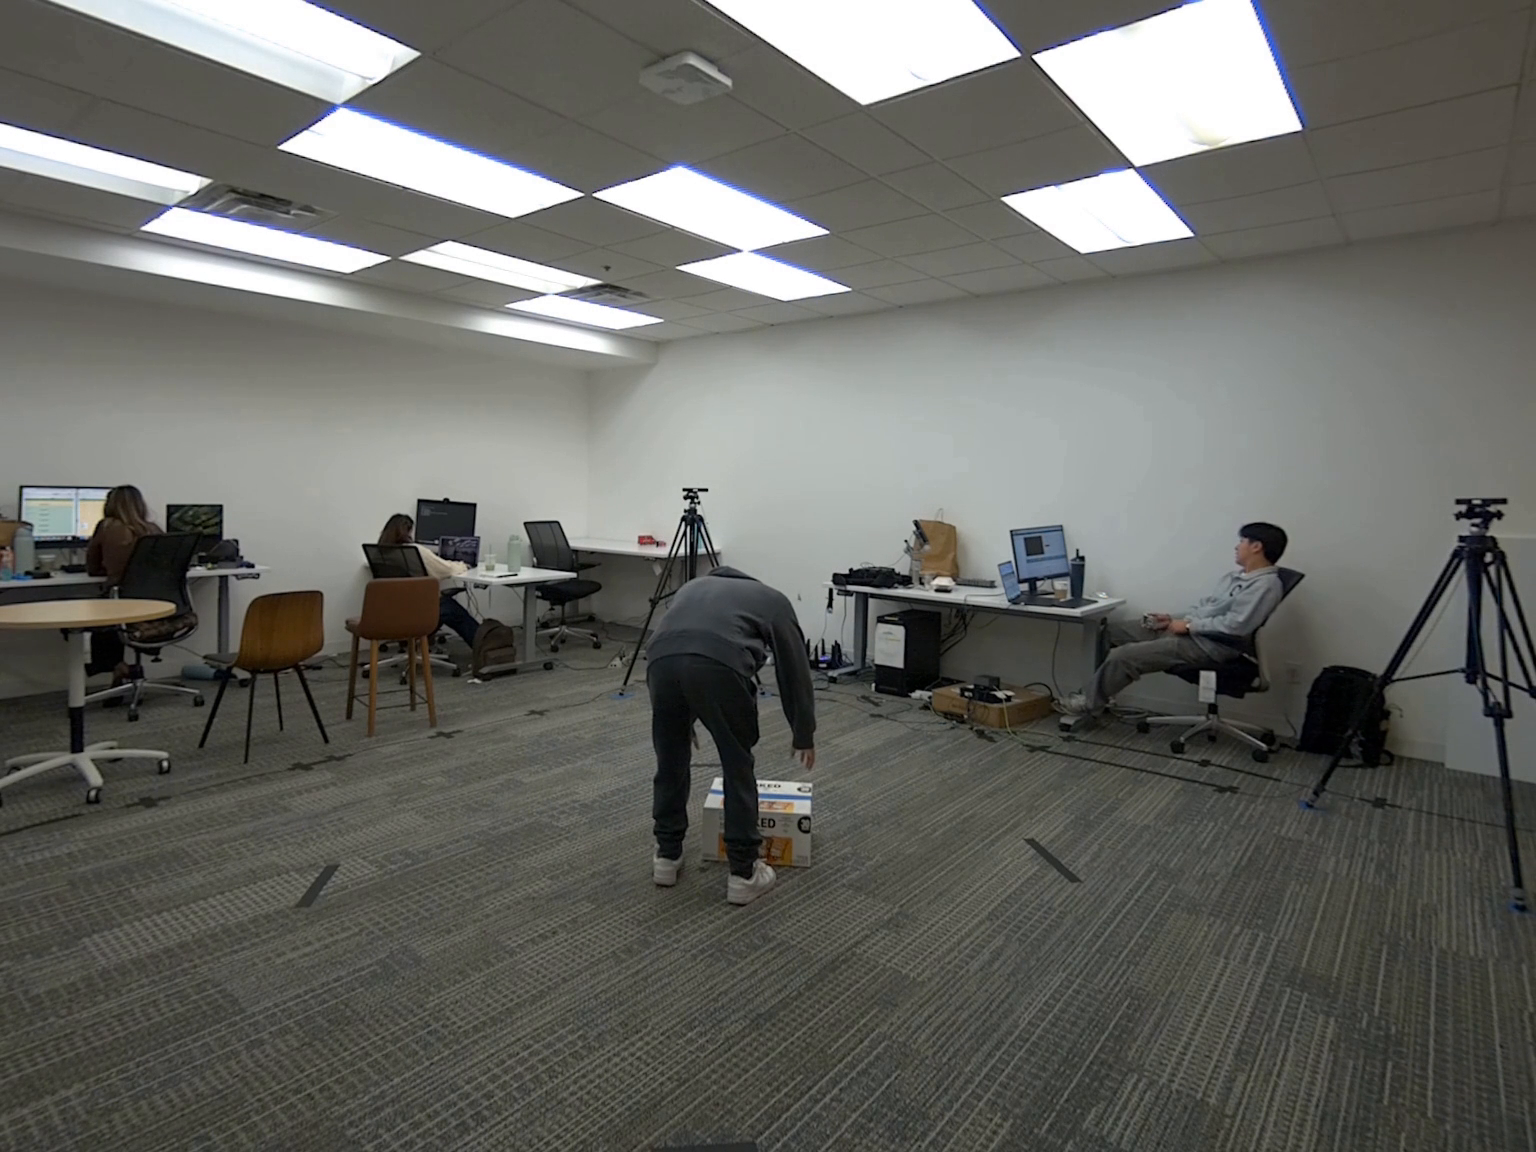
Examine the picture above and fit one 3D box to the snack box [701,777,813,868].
[{"bbox_3d":[-0.042,0.950,3.320,0.408,0.205,0.339,2,5,5],"label":"snack box"}]
